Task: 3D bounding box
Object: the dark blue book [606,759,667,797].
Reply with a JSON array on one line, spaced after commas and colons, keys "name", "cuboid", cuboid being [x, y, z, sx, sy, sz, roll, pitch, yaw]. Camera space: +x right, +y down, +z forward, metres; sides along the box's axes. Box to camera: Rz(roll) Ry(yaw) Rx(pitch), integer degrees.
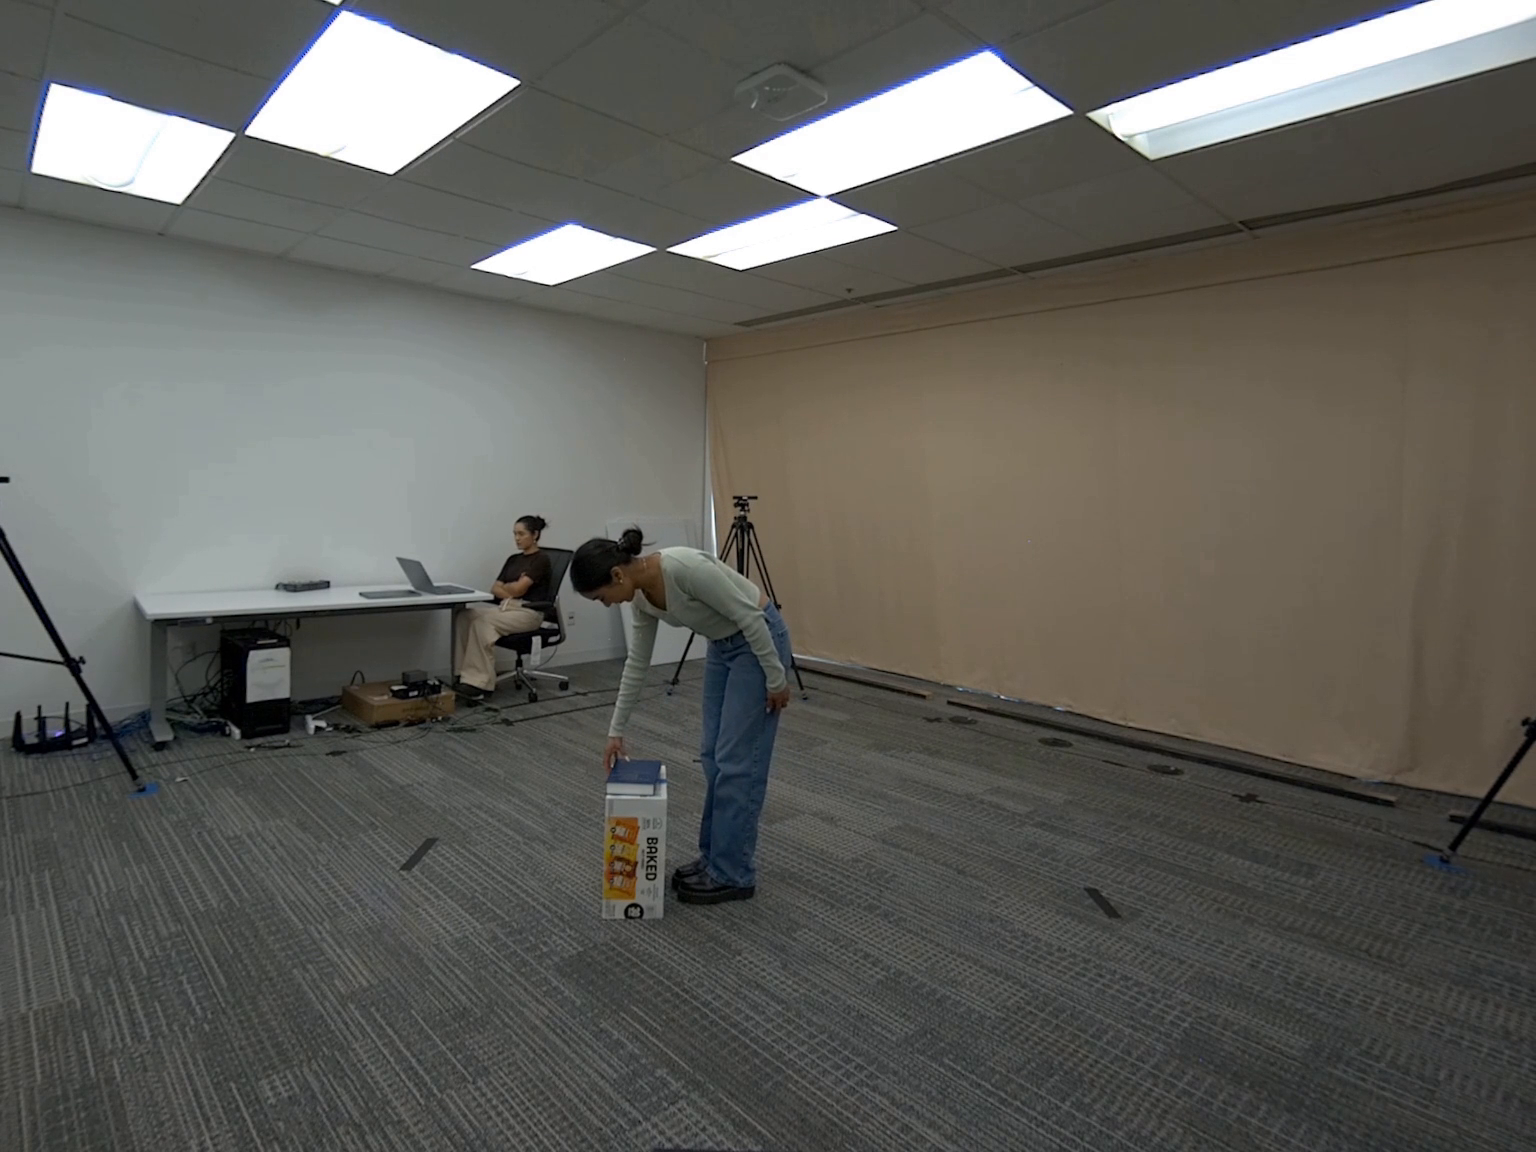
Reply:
[{"name": "dark blue book", "cuboid": [-0.454, 0.693, 2.894, 0.164, 0.045, 0.245, 0, 5, 1]}]
